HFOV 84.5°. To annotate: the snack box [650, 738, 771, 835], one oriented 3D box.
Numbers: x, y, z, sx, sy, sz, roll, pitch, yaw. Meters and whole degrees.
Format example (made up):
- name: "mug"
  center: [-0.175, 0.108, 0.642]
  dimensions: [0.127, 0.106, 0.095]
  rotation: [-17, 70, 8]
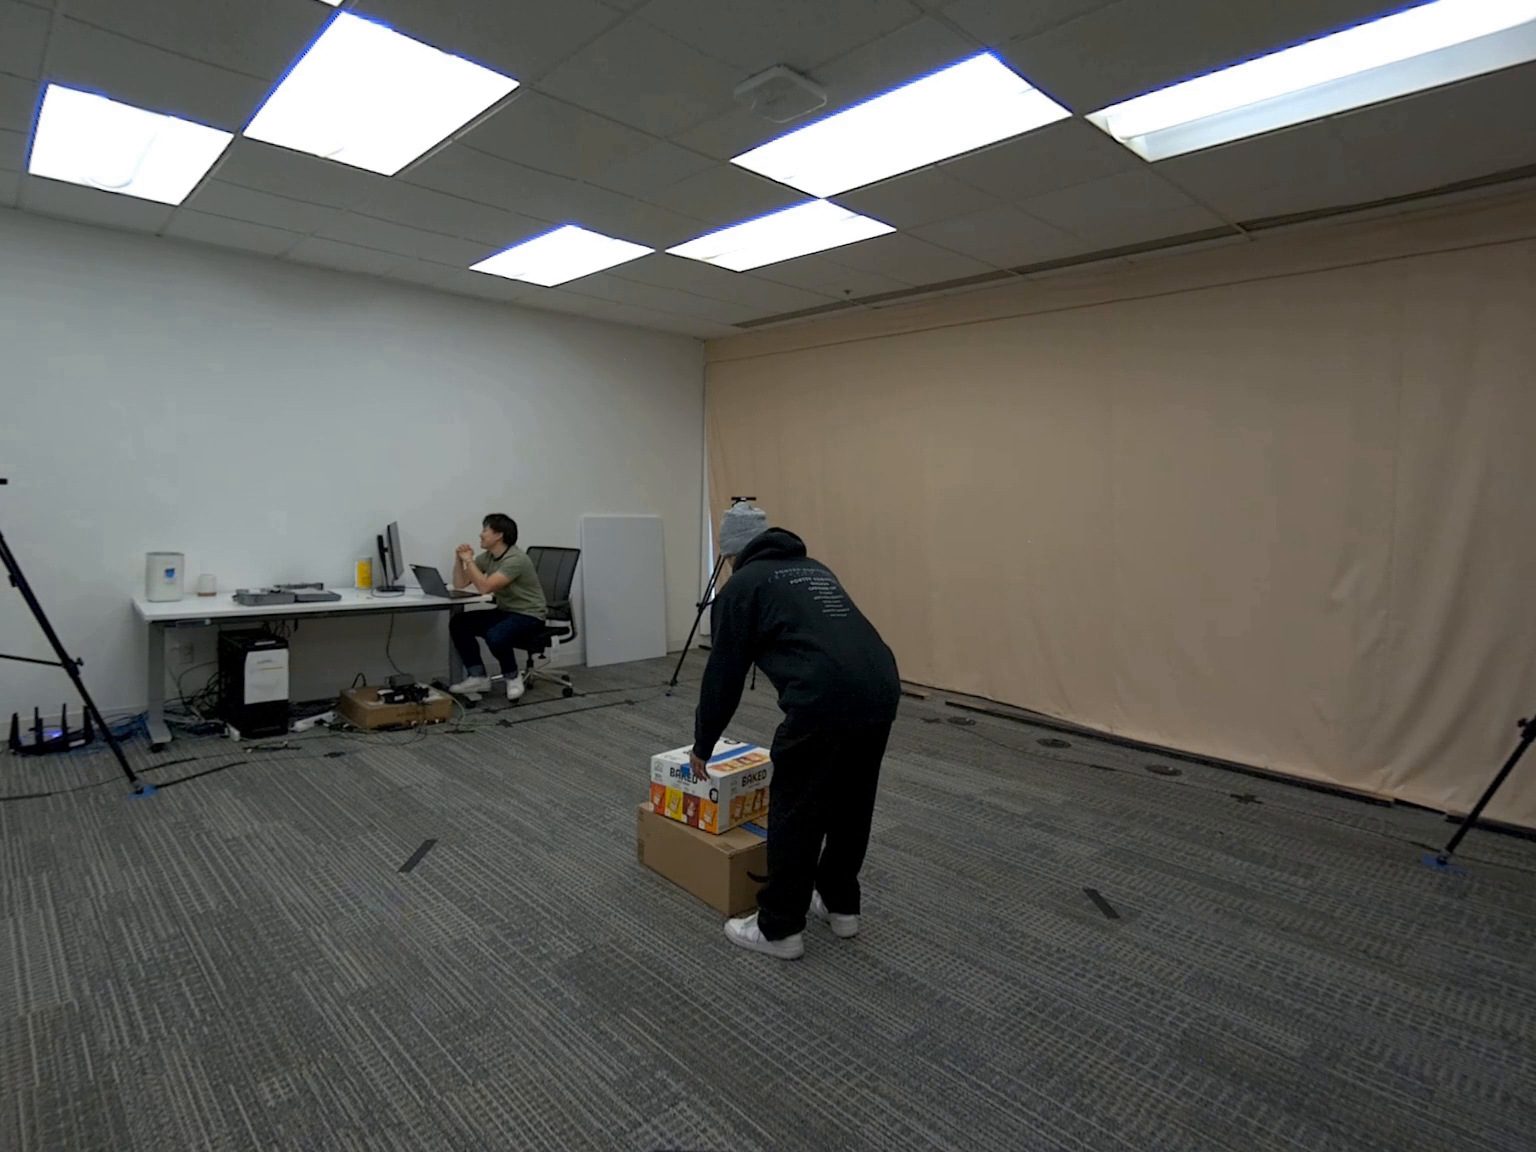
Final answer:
- name: "snack box"
  center: [-0.191, 0.780, 3.179]
  dimensions: [0.349, 0.205, 0.396]
  rotation: [6, 5, 38]
